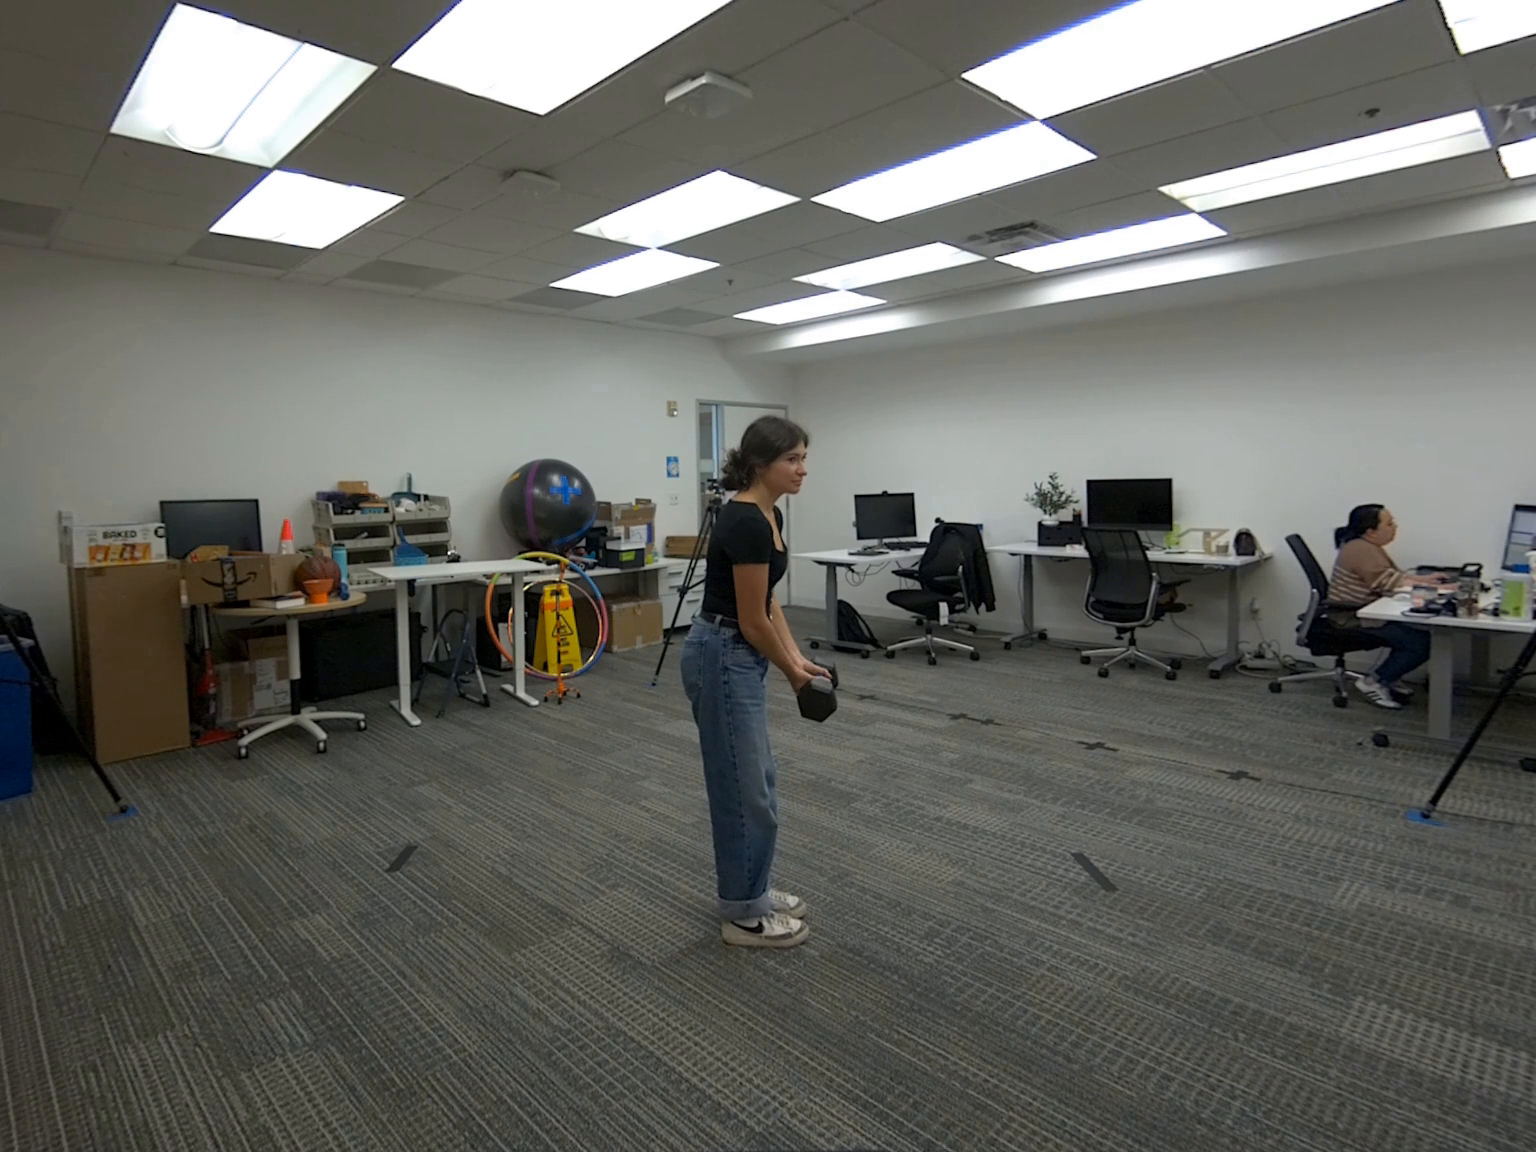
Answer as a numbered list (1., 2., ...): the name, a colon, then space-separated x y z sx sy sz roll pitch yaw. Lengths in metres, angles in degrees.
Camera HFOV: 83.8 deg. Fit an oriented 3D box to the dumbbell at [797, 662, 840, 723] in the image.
1. dumbbell: 0.158 0.336 2.608 0.109 0.122 0.294 -15 9 9
